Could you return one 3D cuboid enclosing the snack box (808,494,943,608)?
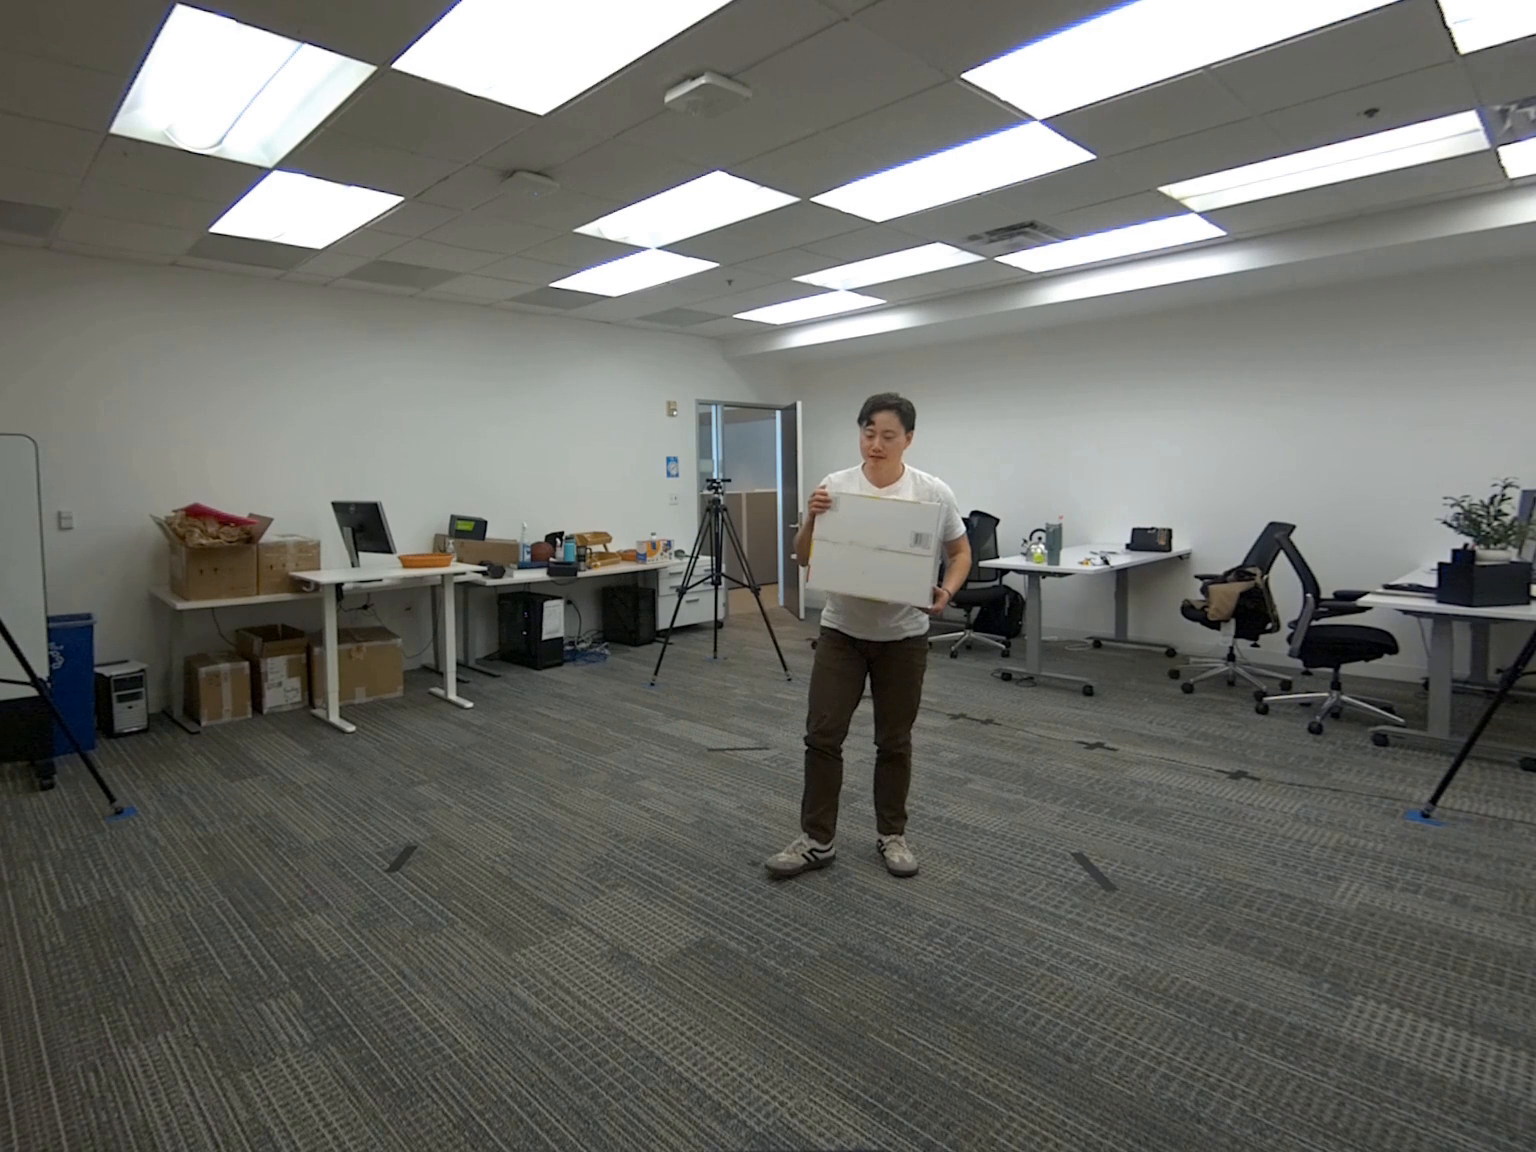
[{"bbox_3d":[0.365,-0.101,2.860,0.413,0.339,0.202,8,5,18],"label":"snack box"}]
